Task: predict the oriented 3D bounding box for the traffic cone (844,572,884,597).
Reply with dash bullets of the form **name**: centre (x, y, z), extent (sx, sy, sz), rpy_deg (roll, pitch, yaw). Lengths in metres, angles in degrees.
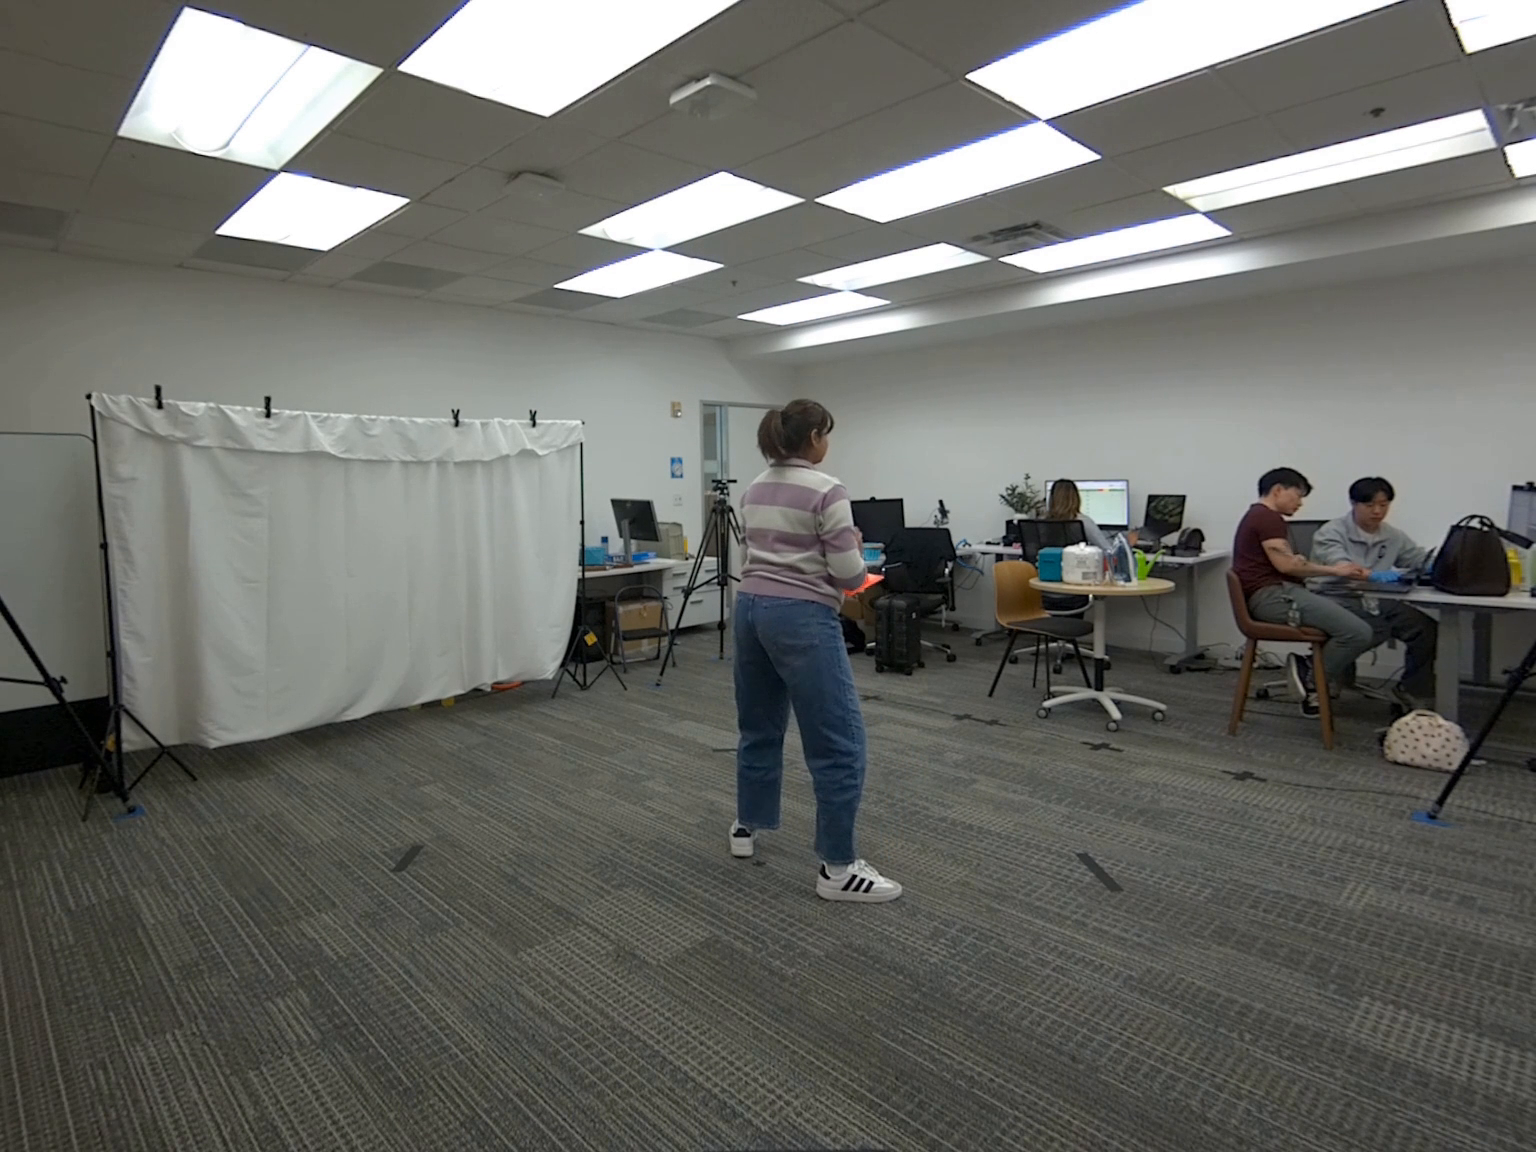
- **traffic cone**: centre (0.283, -0.150, 3.189), extent (0.209, 0.378, 0.202), rpy_deg (-2, 16, 25)
